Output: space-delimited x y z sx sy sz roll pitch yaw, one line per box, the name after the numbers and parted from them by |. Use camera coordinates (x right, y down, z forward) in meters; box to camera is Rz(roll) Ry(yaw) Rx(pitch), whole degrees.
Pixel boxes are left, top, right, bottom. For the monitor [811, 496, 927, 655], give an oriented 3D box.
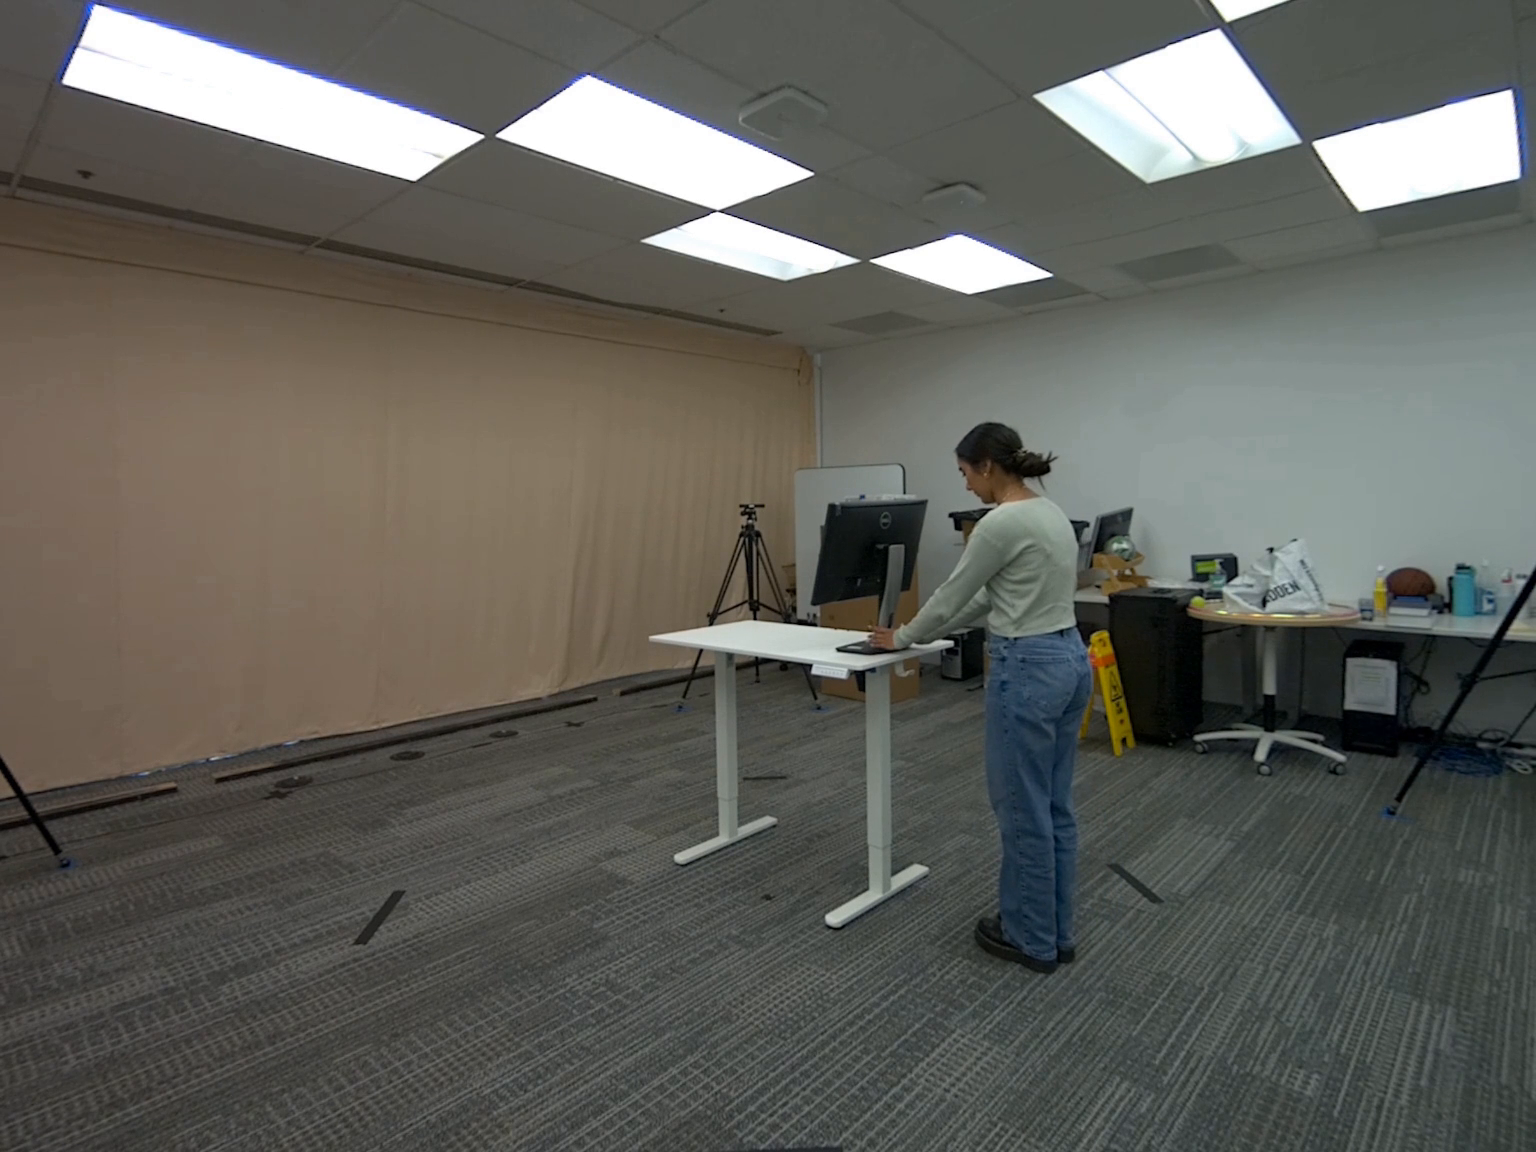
0.398 0.001 2.916 0.193 0.521 0.523 4 7 44 | monitor
